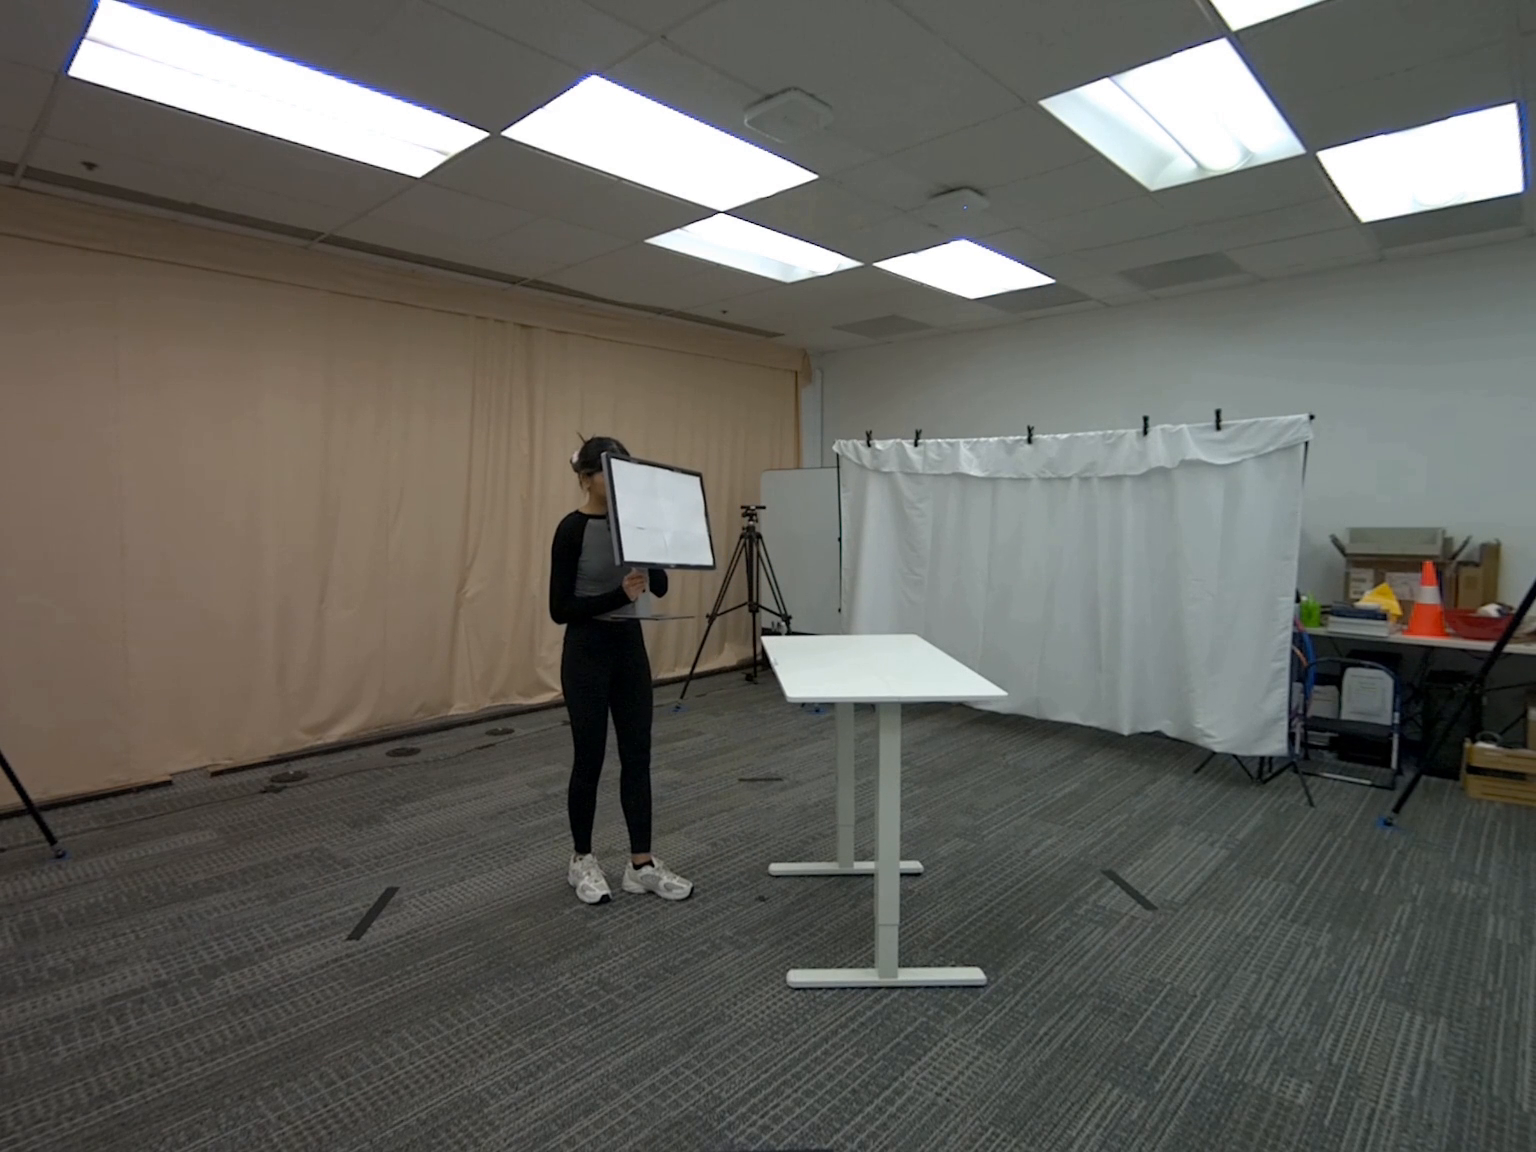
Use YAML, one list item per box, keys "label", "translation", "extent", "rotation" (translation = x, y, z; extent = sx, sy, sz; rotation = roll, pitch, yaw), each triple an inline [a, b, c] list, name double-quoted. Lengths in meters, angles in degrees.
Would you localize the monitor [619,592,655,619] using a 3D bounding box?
- label: "monitor"
  translation: [-0.387, -0.118, 2.844]
  extent: [0.192, 0.523, 0.524]
  rotation: [1, -1, 26]
